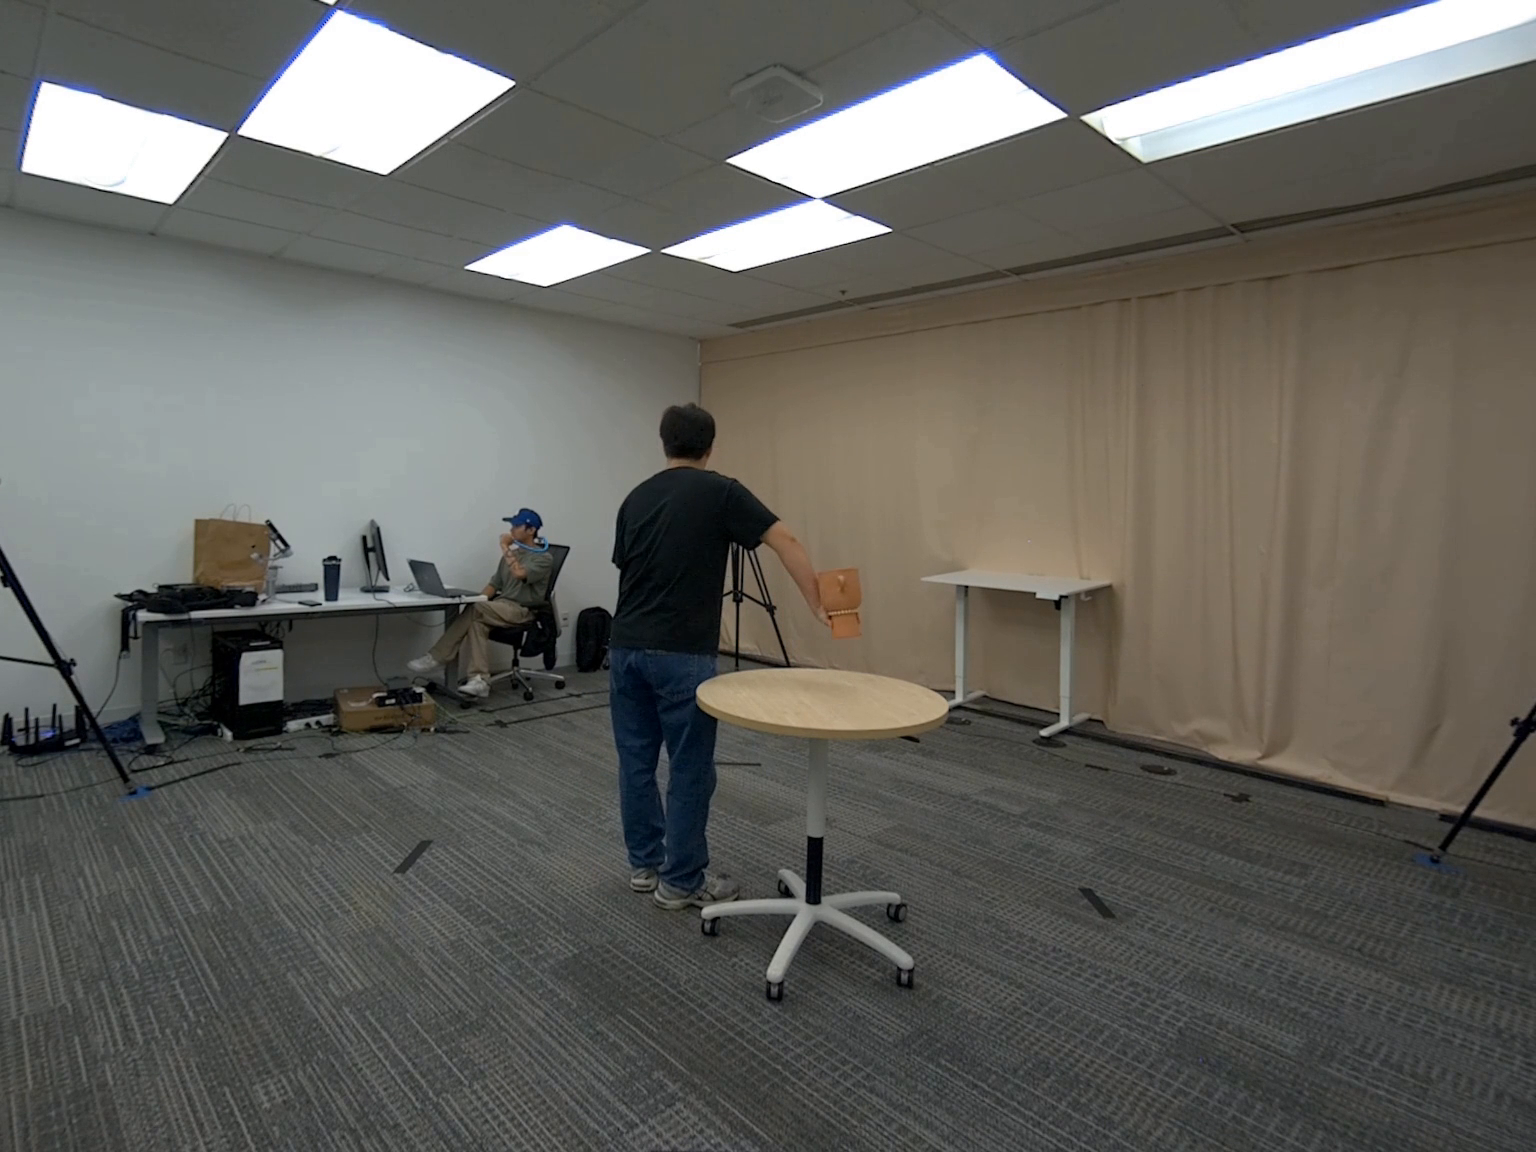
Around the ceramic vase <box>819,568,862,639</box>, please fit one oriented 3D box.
[{"bbox_3d":[0.224,0.095,2.730,0.137,0.220,0.155,-10,-4,38],"label":"ceramic vase"}]
